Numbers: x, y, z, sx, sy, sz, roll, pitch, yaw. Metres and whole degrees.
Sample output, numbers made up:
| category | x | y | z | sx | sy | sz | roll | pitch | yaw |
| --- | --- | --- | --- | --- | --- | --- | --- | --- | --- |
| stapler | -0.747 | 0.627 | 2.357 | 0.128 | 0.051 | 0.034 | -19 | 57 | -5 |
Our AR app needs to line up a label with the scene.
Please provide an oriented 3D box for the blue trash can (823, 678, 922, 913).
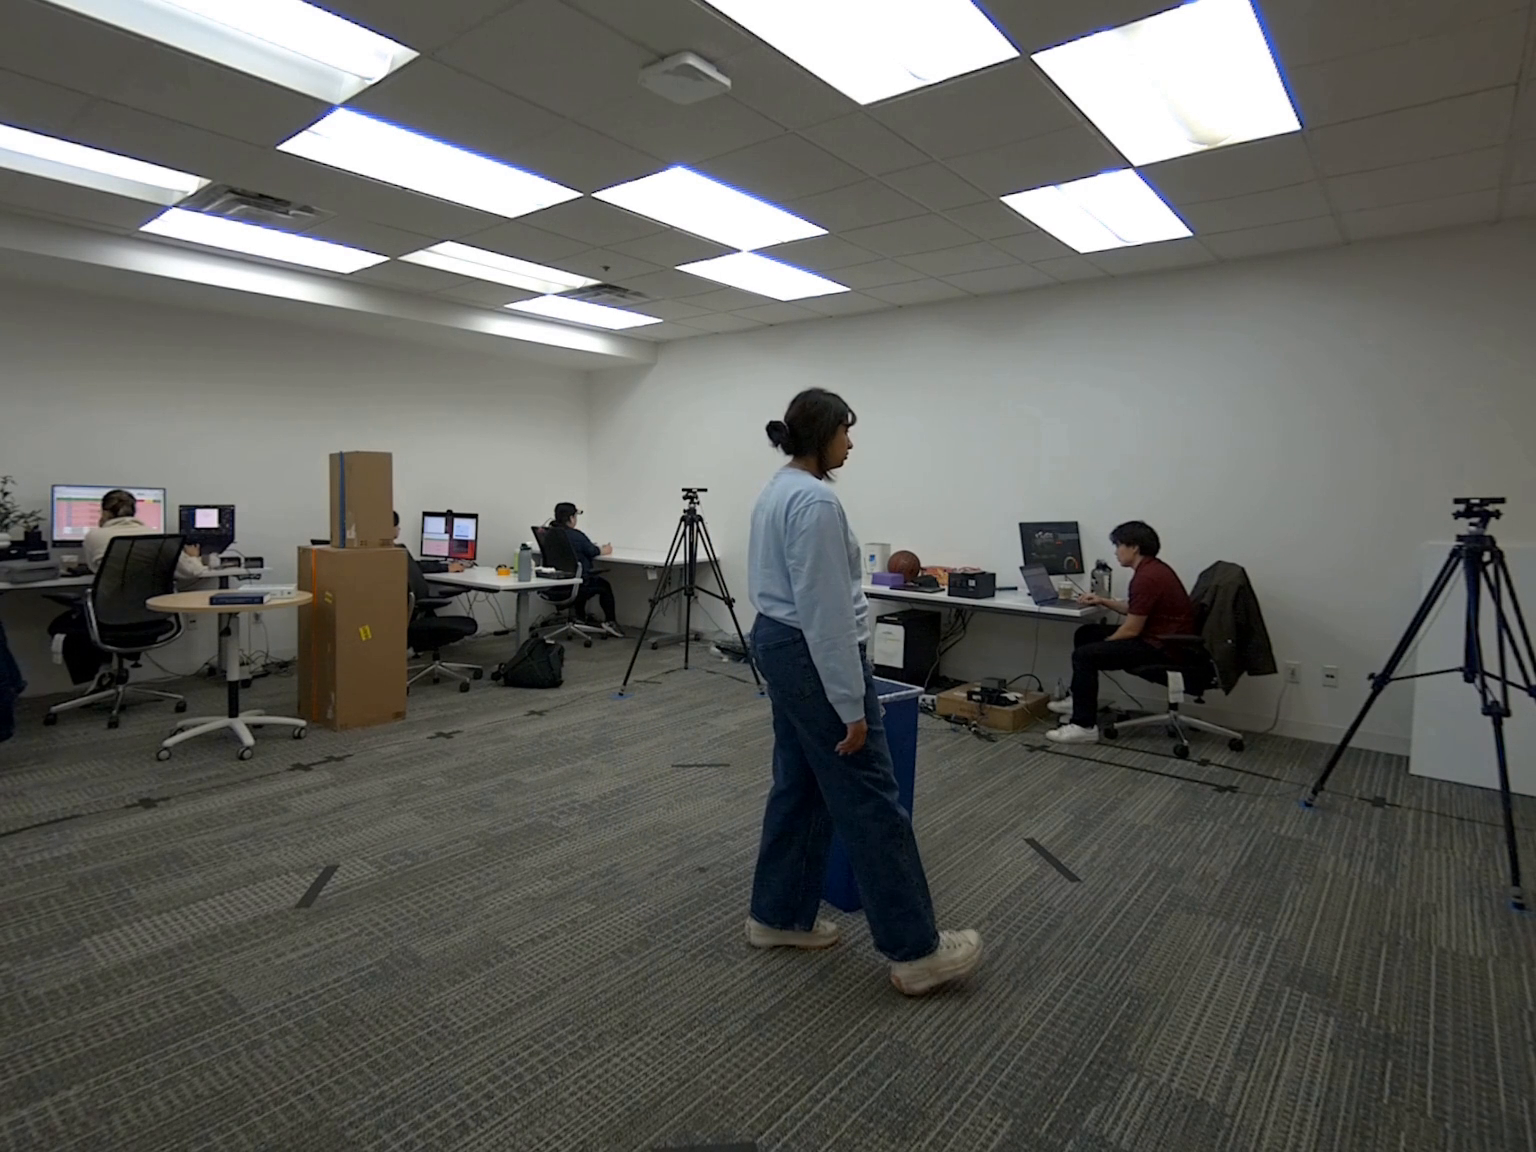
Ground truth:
| category | x | y | z | sx | sy | sz | roll | pitch | yaw |
| --- | --- | --- | --- | --- | --- | --- | --- | --- | --- |
| blue trash can | 0.278 | 0.731 | 3.001 | 0.366 | 0.712 | 0.387 | -1 | 4 | -40 |
